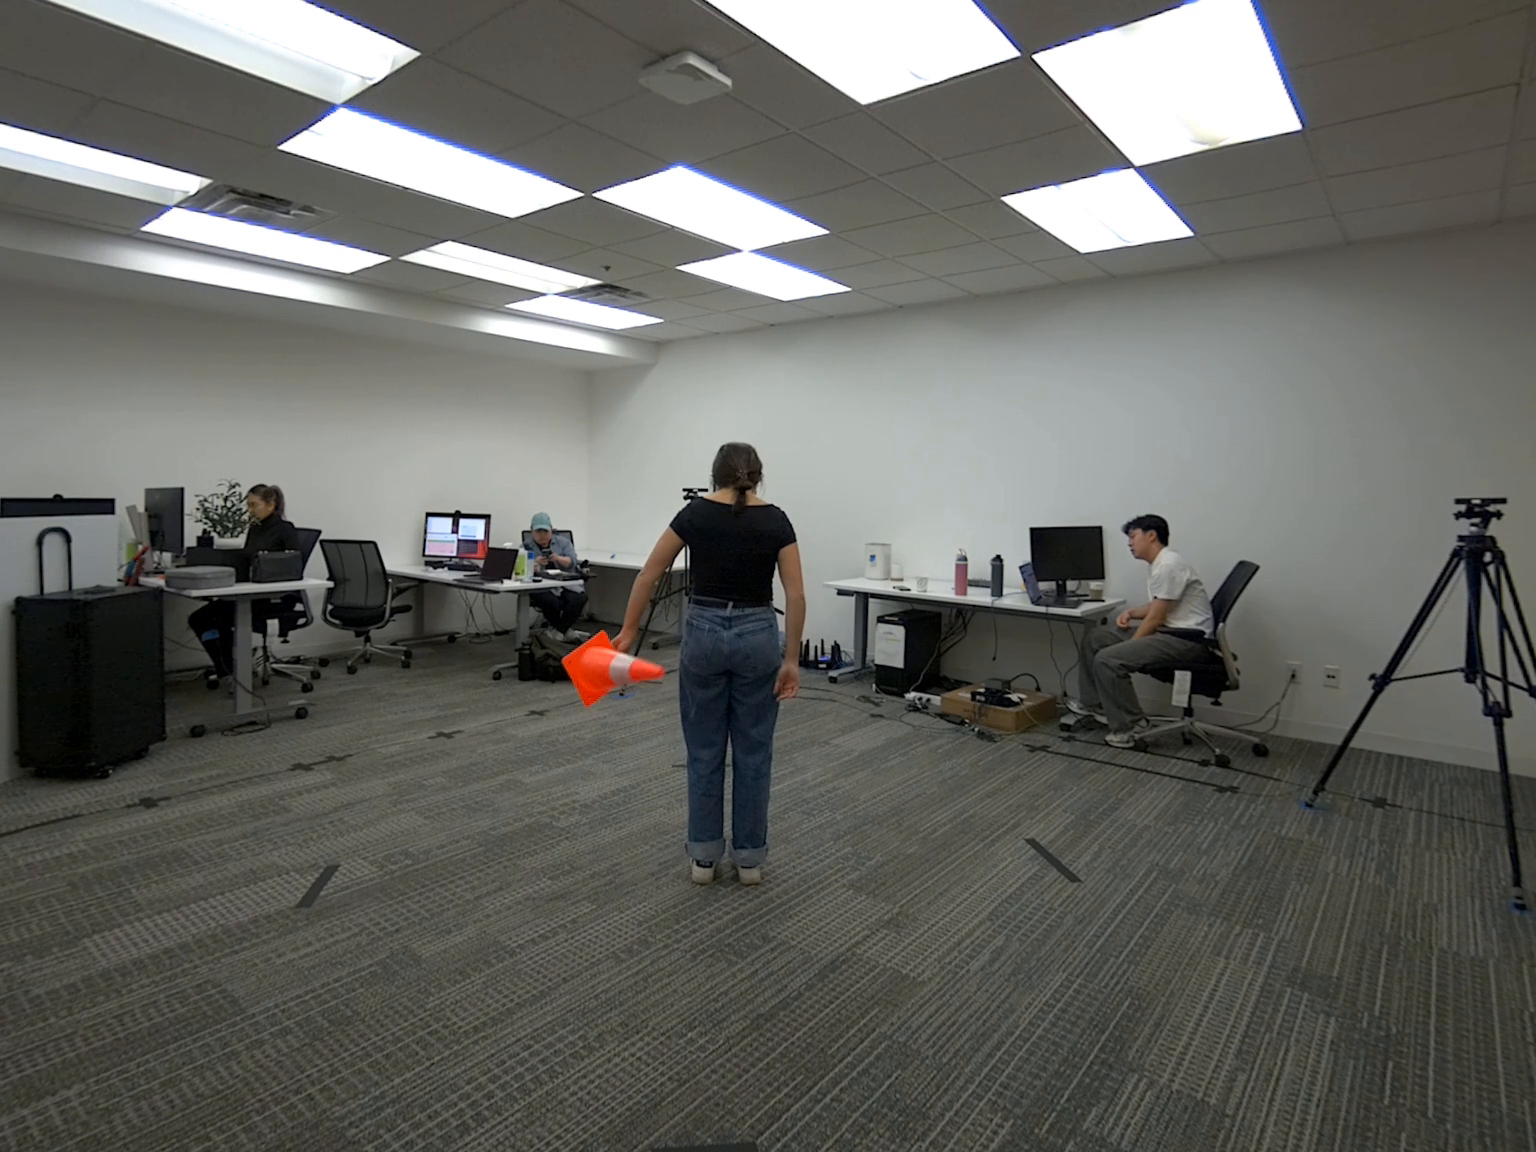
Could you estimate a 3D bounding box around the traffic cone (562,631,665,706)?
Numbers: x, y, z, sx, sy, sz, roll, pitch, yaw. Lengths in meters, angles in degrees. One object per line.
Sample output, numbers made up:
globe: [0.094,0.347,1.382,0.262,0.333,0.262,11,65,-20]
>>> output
traffic cone: [-0.458,0.304,2.854,0.395,0.199,0.203,-5,25,47]
